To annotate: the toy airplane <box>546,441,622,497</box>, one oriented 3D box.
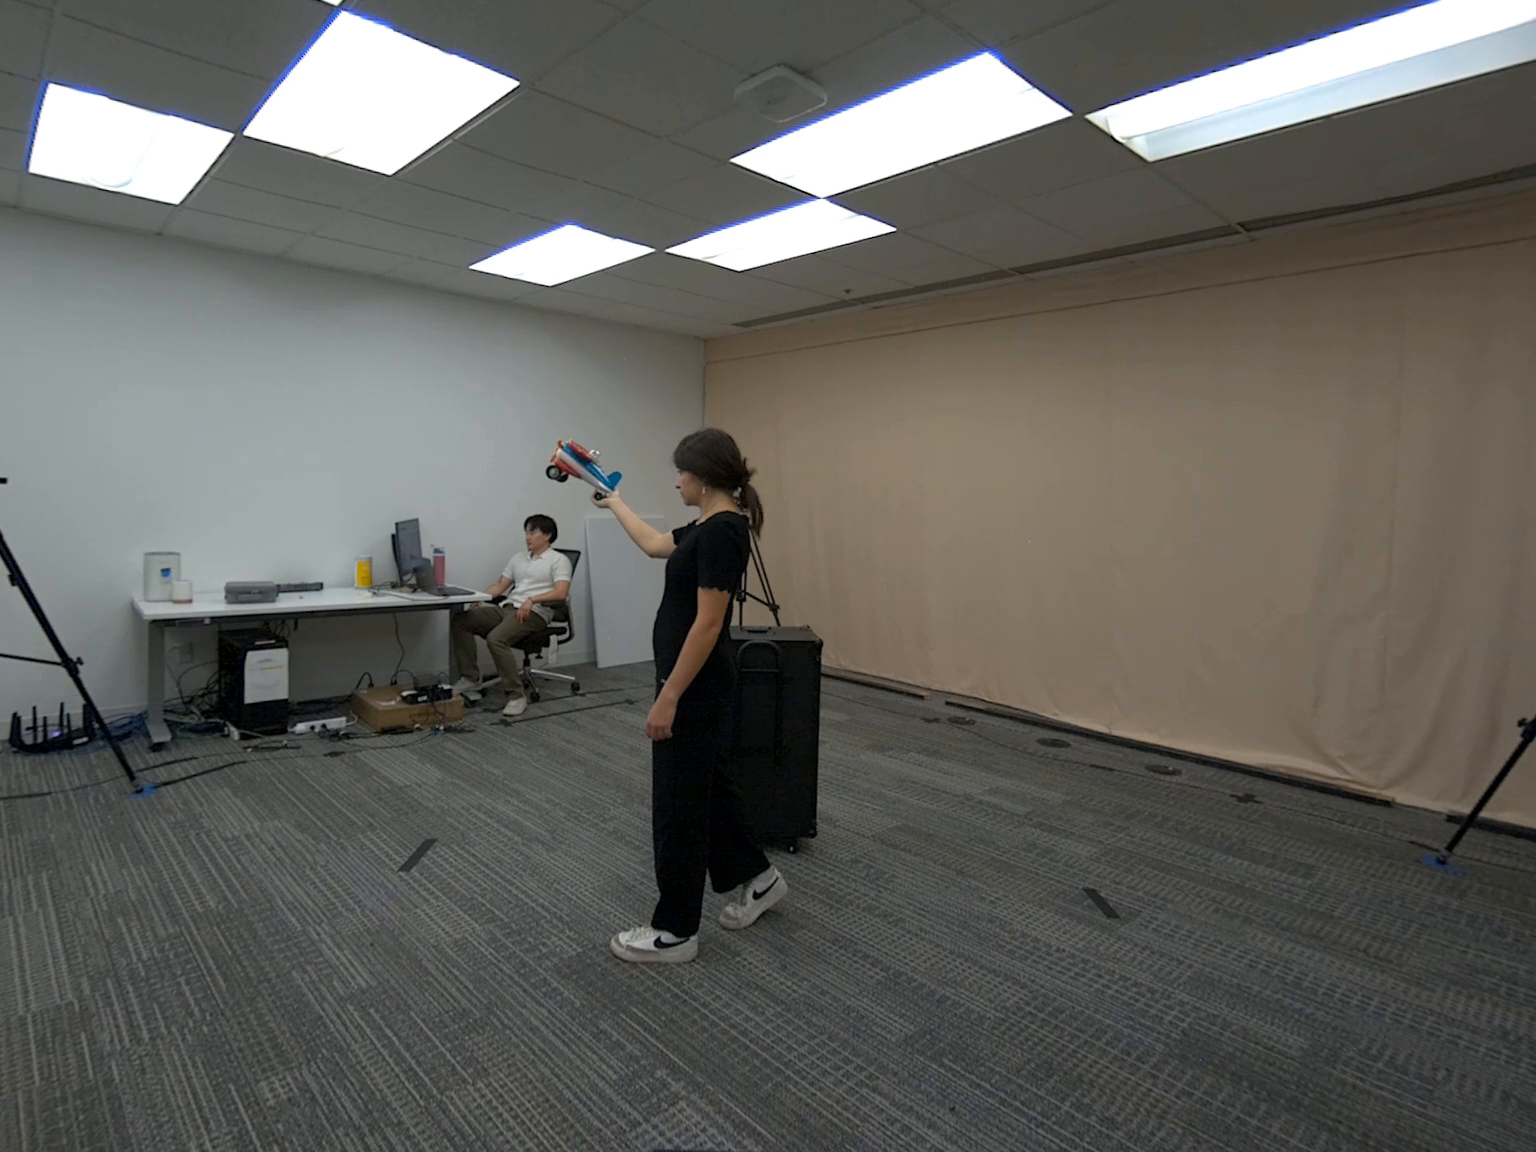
[{"bbox_3d":[-0.668,-0.378,3.046,0.254,0.156,0.257,25,2,-23],"label":"toy airplane"}]
